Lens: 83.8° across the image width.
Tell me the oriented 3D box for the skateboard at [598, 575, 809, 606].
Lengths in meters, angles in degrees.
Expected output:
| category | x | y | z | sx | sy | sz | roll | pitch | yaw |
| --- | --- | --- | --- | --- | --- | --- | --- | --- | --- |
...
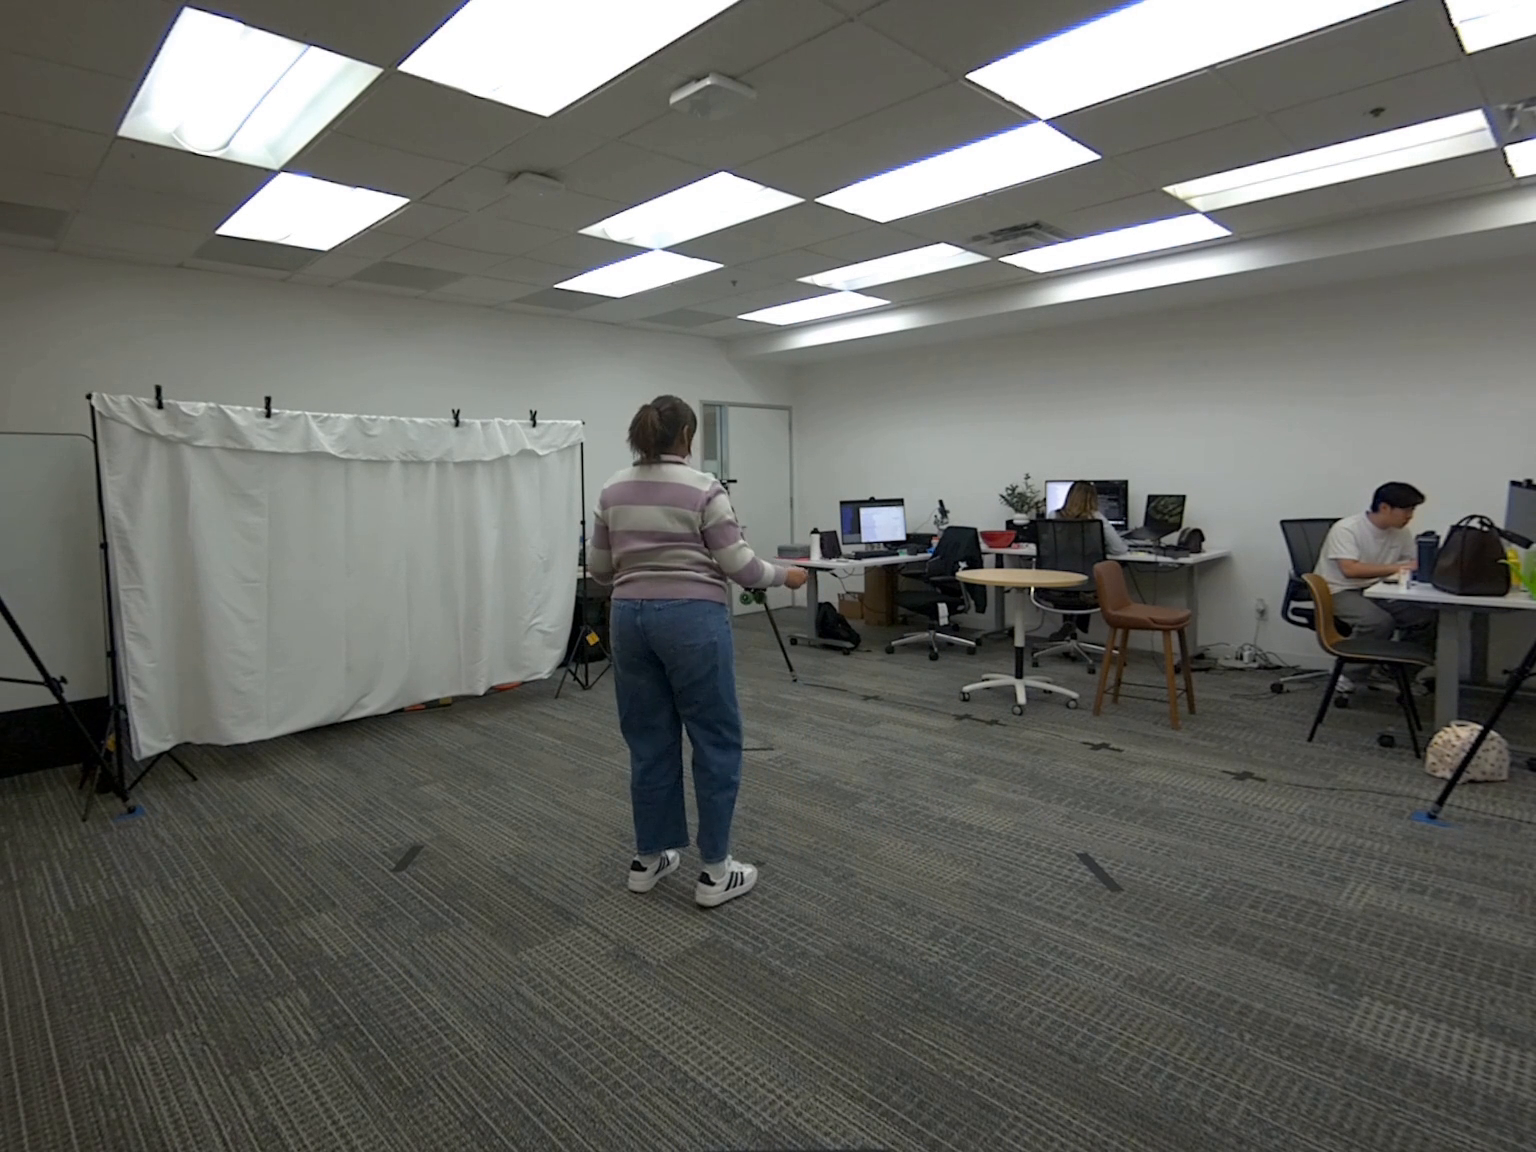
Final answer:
| category | x | y | z | sx | sy | sz | roll | pitch | yaw |
| --- | --- | --- | --- | --- | --- | --- | --- | --- | --- |
| skateboard | -0.254 | 0.040 | 3.263 | 0.802 | 0.111 | 0.188 | 1 | -5 | 22 |
